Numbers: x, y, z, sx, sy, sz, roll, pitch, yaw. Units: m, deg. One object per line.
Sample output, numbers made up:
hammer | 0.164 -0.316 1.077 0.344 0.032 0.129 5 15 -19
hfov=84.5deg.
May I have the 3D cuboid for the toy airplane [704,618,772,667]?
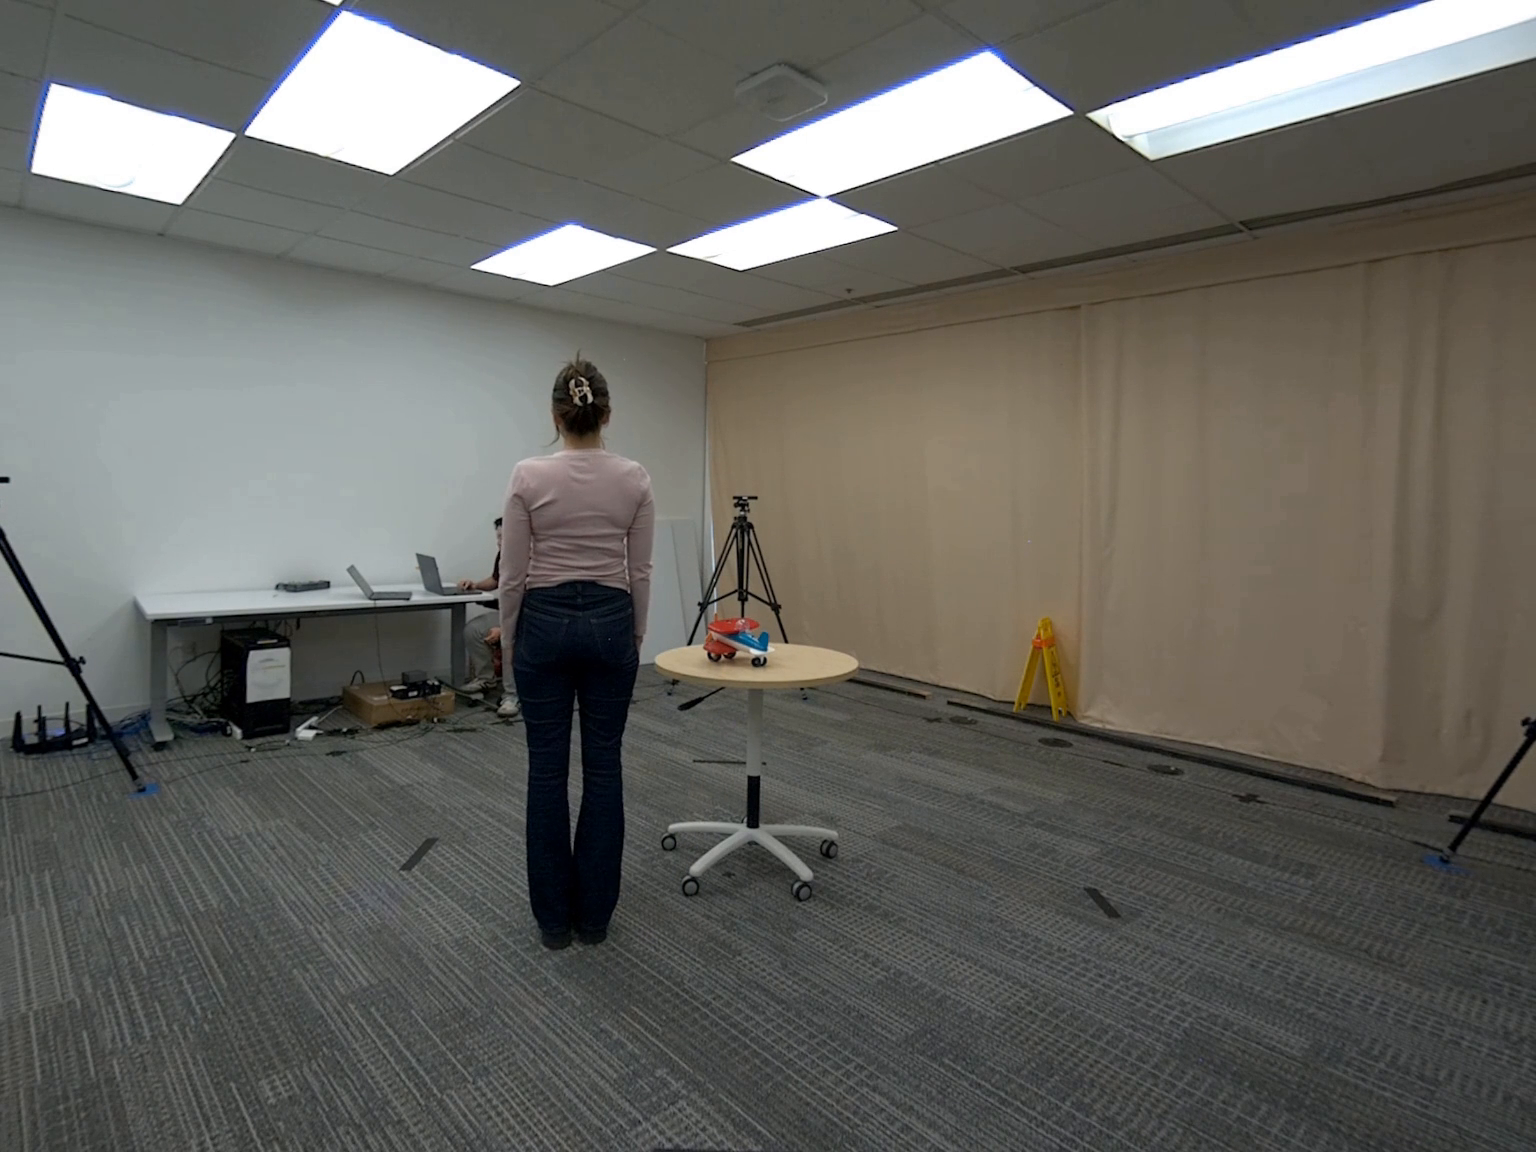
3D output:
toy airplane | -0.098 0.243 3.119 0.261 0.156 0.249 1 4 10
